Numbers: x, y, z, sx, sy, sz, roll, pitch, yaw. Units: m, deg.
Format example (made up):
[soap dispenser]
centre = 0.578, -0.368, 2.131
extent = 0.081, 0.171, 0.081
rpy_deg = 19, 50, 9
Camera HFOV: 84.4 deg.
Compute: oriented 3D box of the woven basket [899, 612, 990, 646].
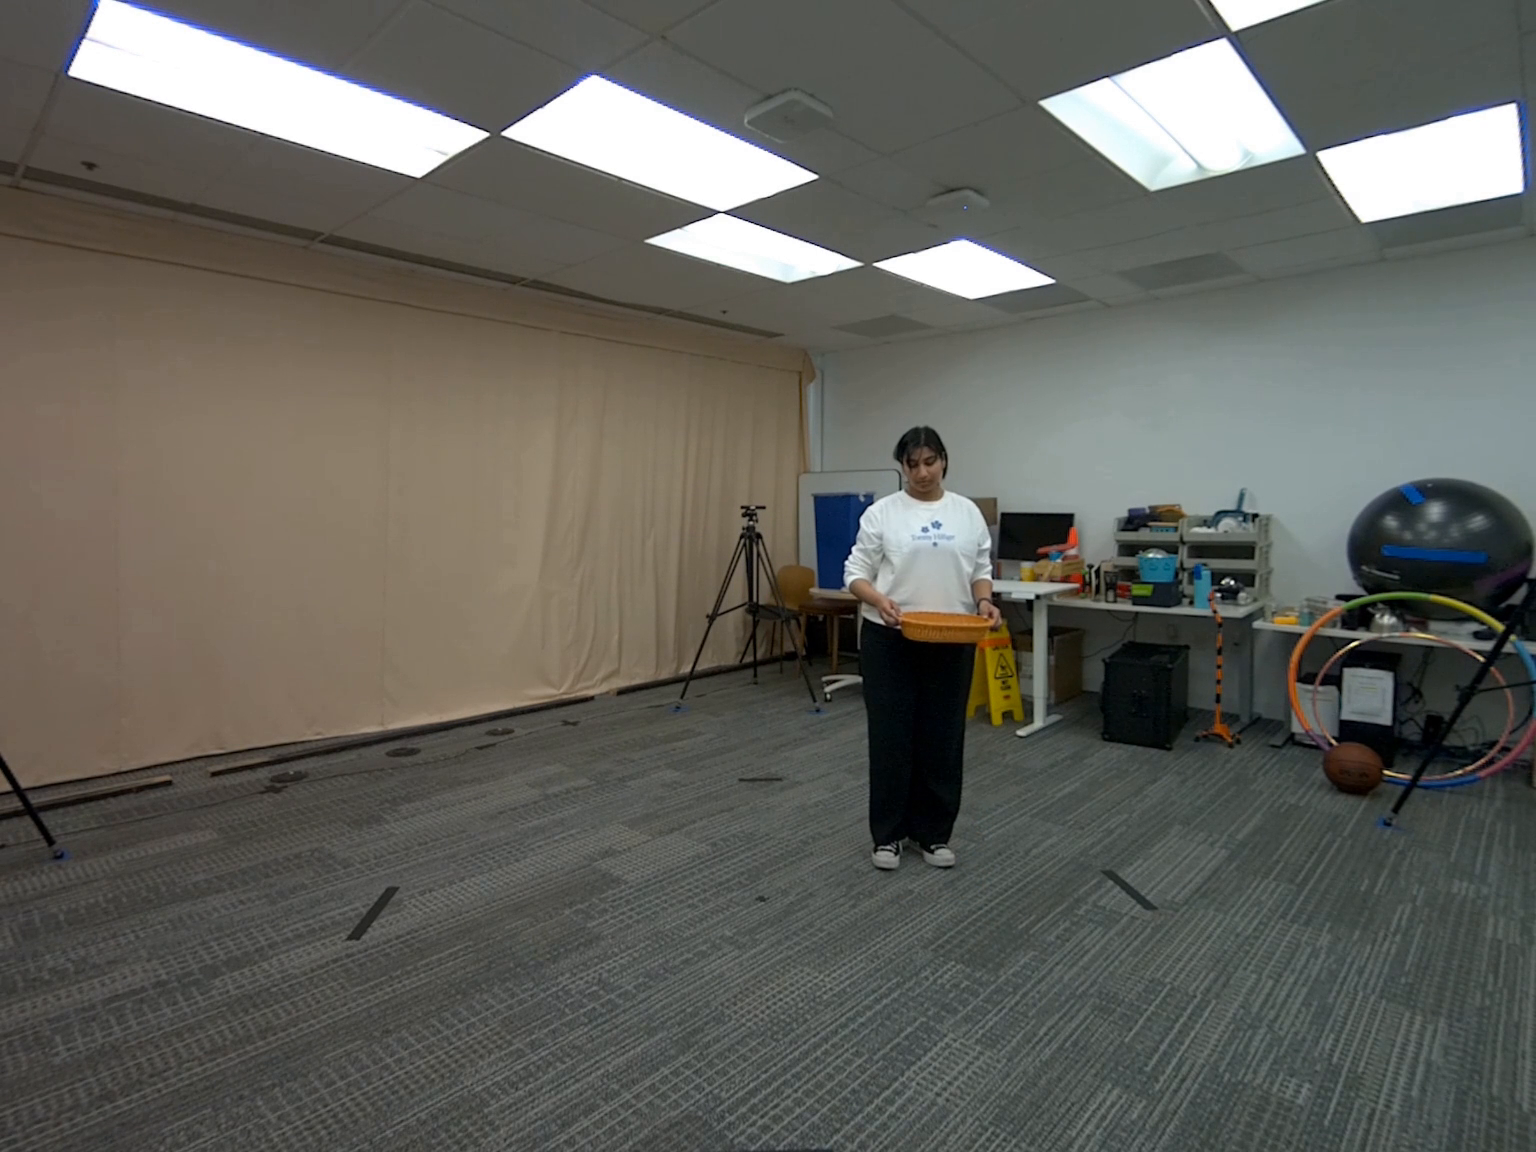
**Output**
[woven basket]
centre = 0.624, 0.190, 3.024
extent = 0.355, 0.073, 0.250
rpy_deg = 1, 7, 10
